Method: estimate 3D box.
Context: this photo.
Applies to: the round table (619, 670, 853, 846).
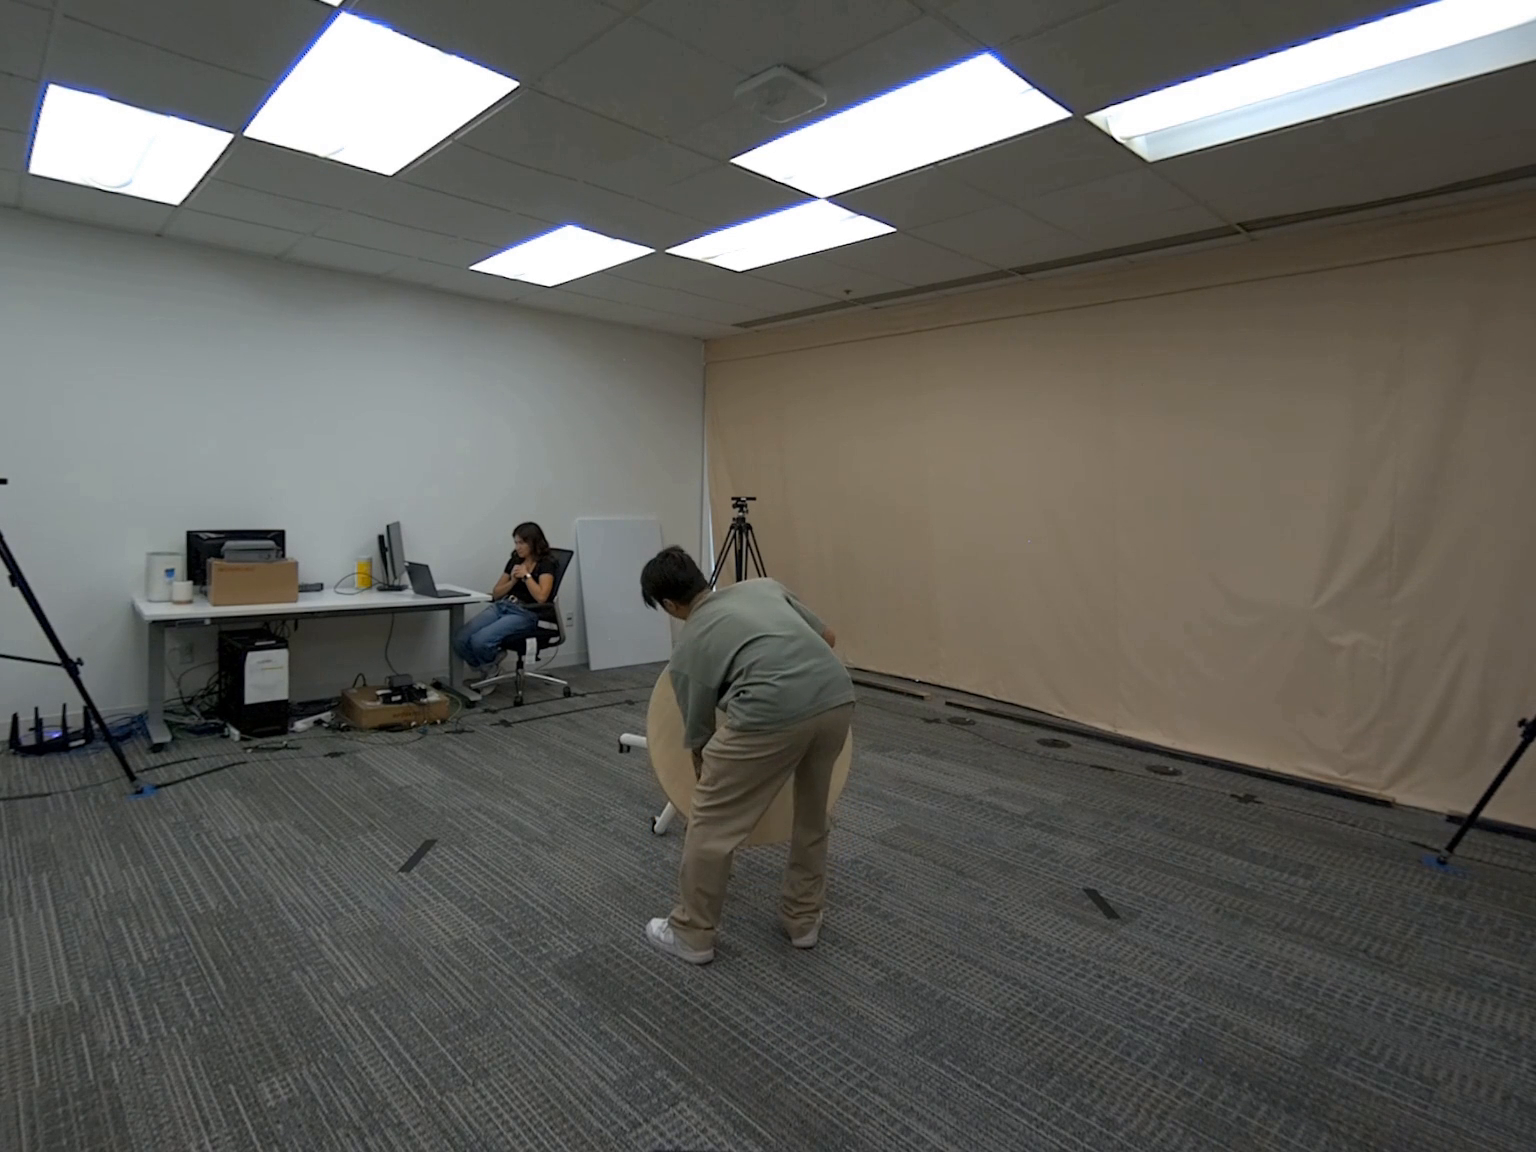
[{"bbox_3d":[-0.185,0.674,3.340,0.773,0.797,0.786,0,-20,-20],"label":"round table"}]
